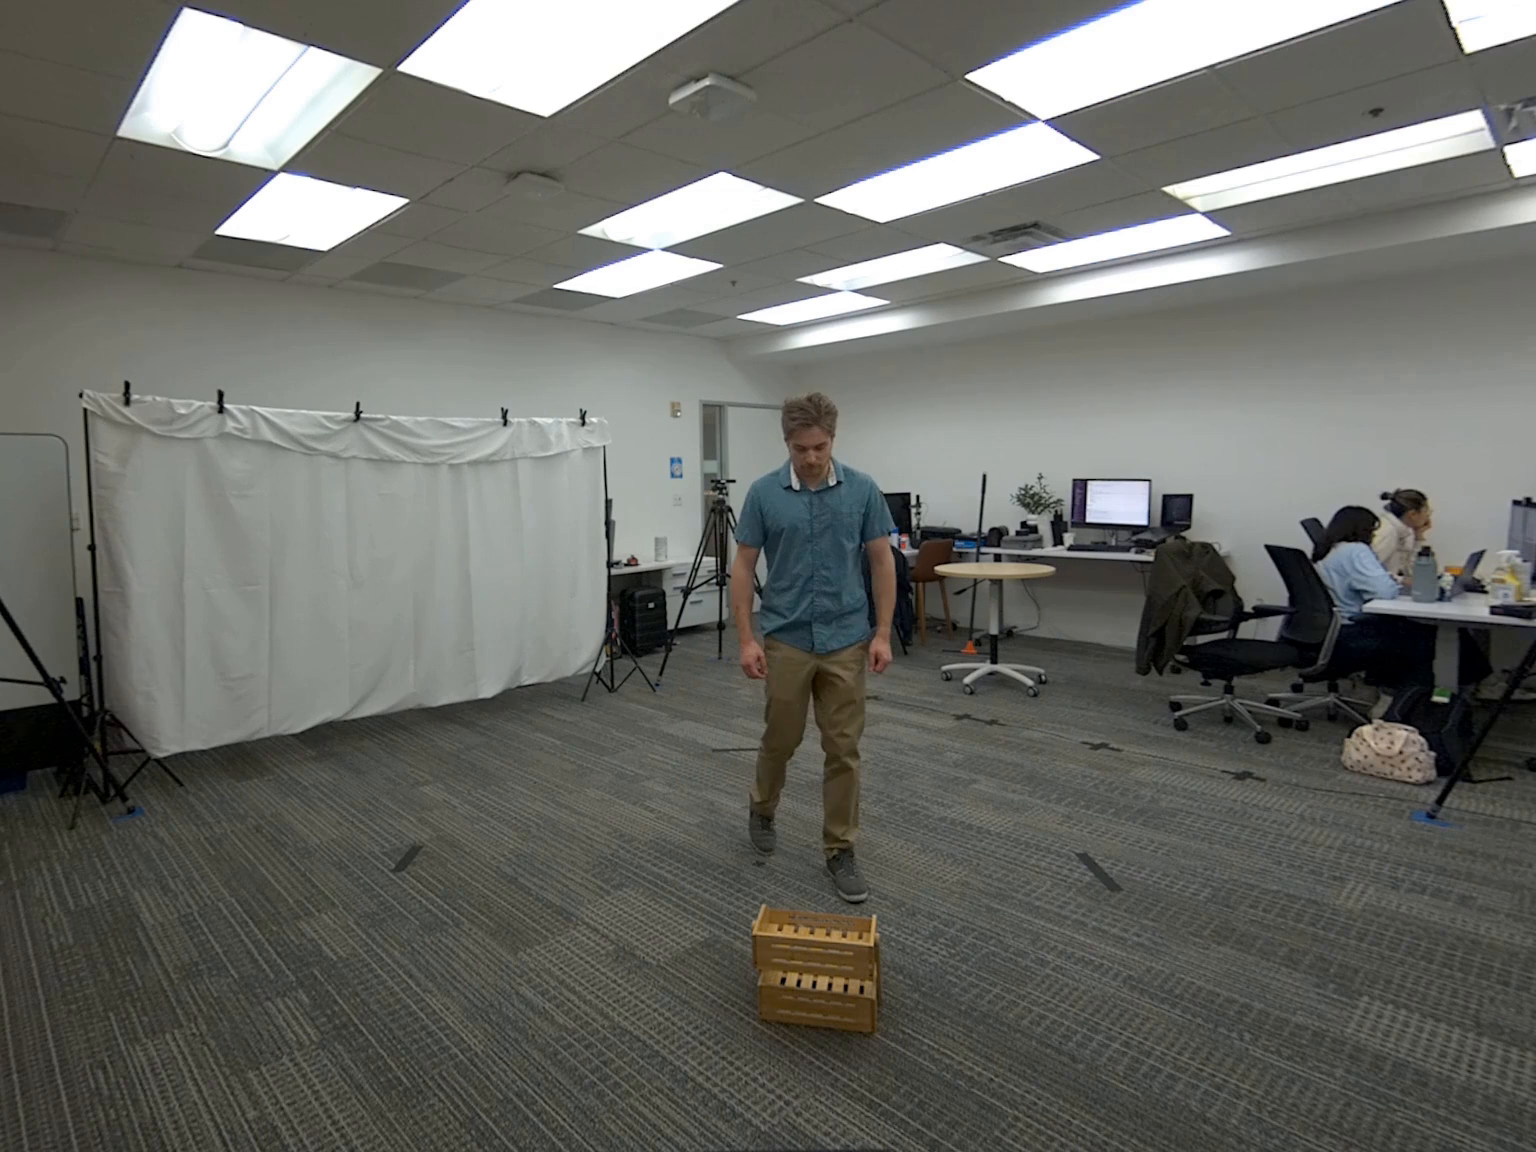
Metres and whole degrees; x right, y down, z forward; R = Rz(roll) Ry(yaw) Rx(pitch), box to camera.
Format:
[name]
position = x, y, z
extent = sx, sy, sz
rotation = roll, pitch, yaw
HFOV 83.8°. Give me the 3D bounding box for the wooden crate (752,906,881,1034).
[wooden crate]
position = 0.142, 1.009, 2.267
extent = 0.328, 0.272, 0.300
rotation = 0, 7, 12
